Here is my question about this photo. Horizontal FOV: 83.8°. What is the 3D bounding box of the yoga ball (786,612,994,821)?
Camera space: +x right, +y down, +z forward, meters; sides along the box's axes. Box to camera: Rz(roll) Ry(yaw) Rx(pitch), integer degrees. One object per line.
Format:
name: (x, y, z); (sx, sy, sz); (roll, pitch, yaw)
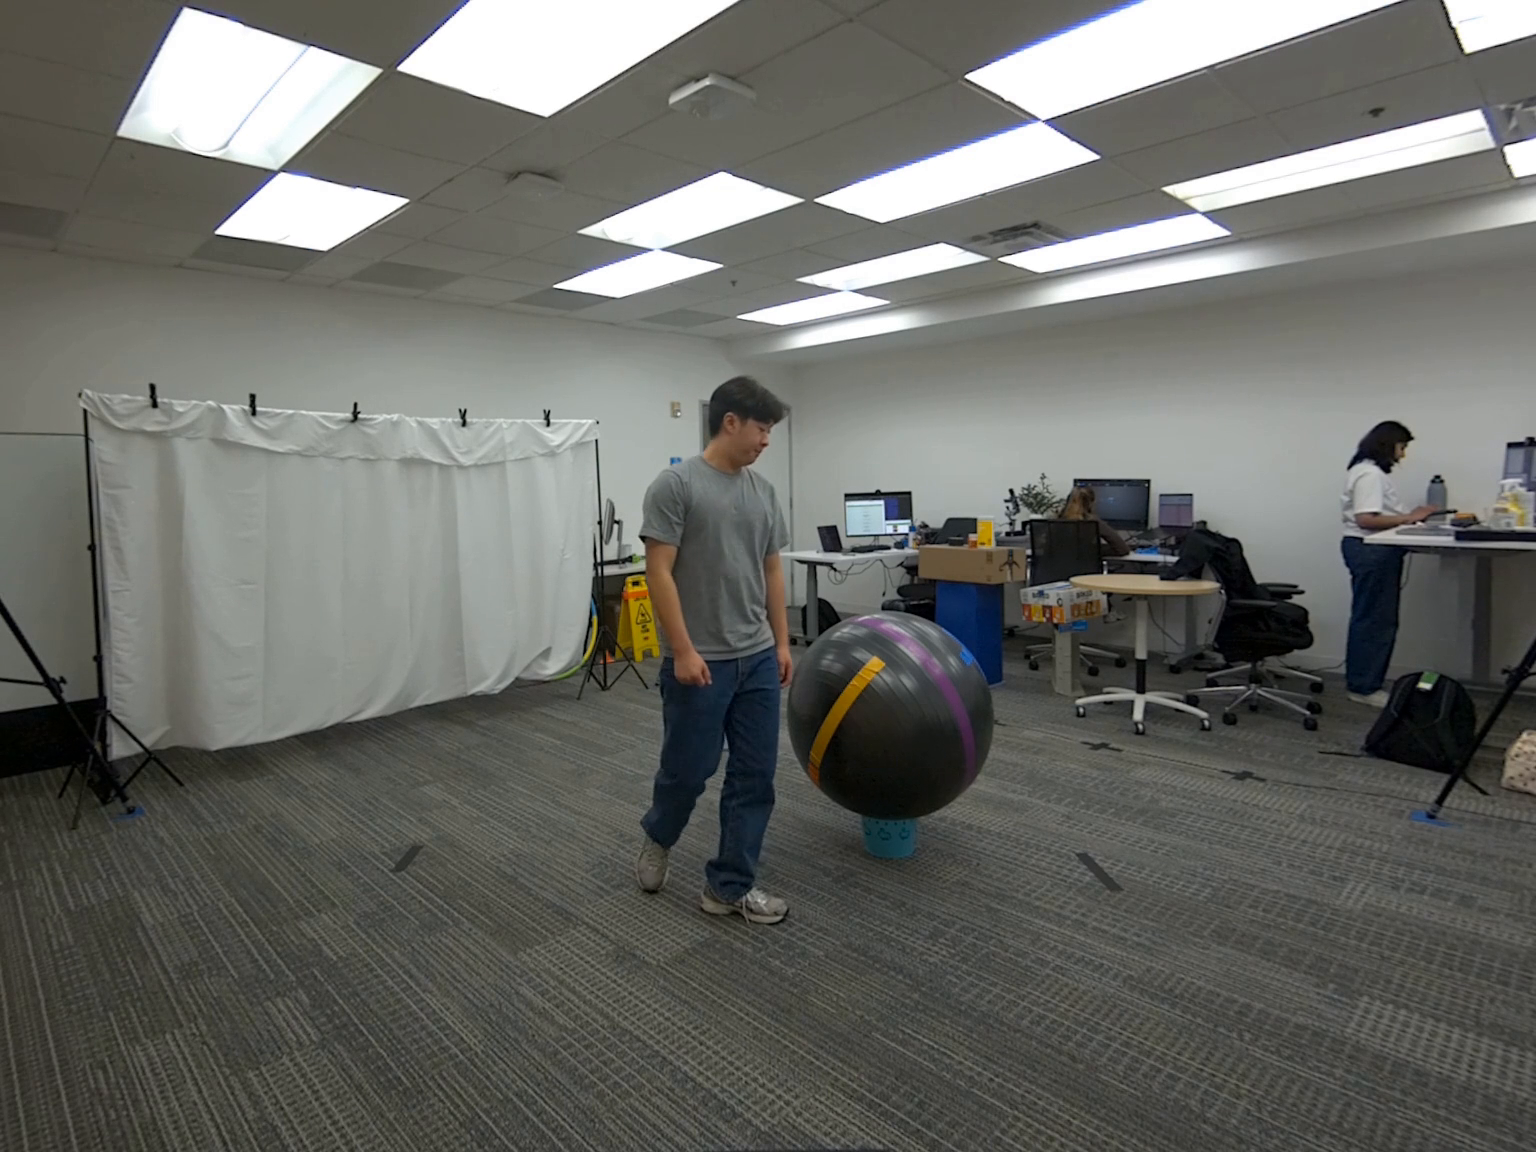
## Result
yoga ball: (0.452, 0.518, 3.188); (0.757, 0.755, 0.762); (-1, 5, -2)
